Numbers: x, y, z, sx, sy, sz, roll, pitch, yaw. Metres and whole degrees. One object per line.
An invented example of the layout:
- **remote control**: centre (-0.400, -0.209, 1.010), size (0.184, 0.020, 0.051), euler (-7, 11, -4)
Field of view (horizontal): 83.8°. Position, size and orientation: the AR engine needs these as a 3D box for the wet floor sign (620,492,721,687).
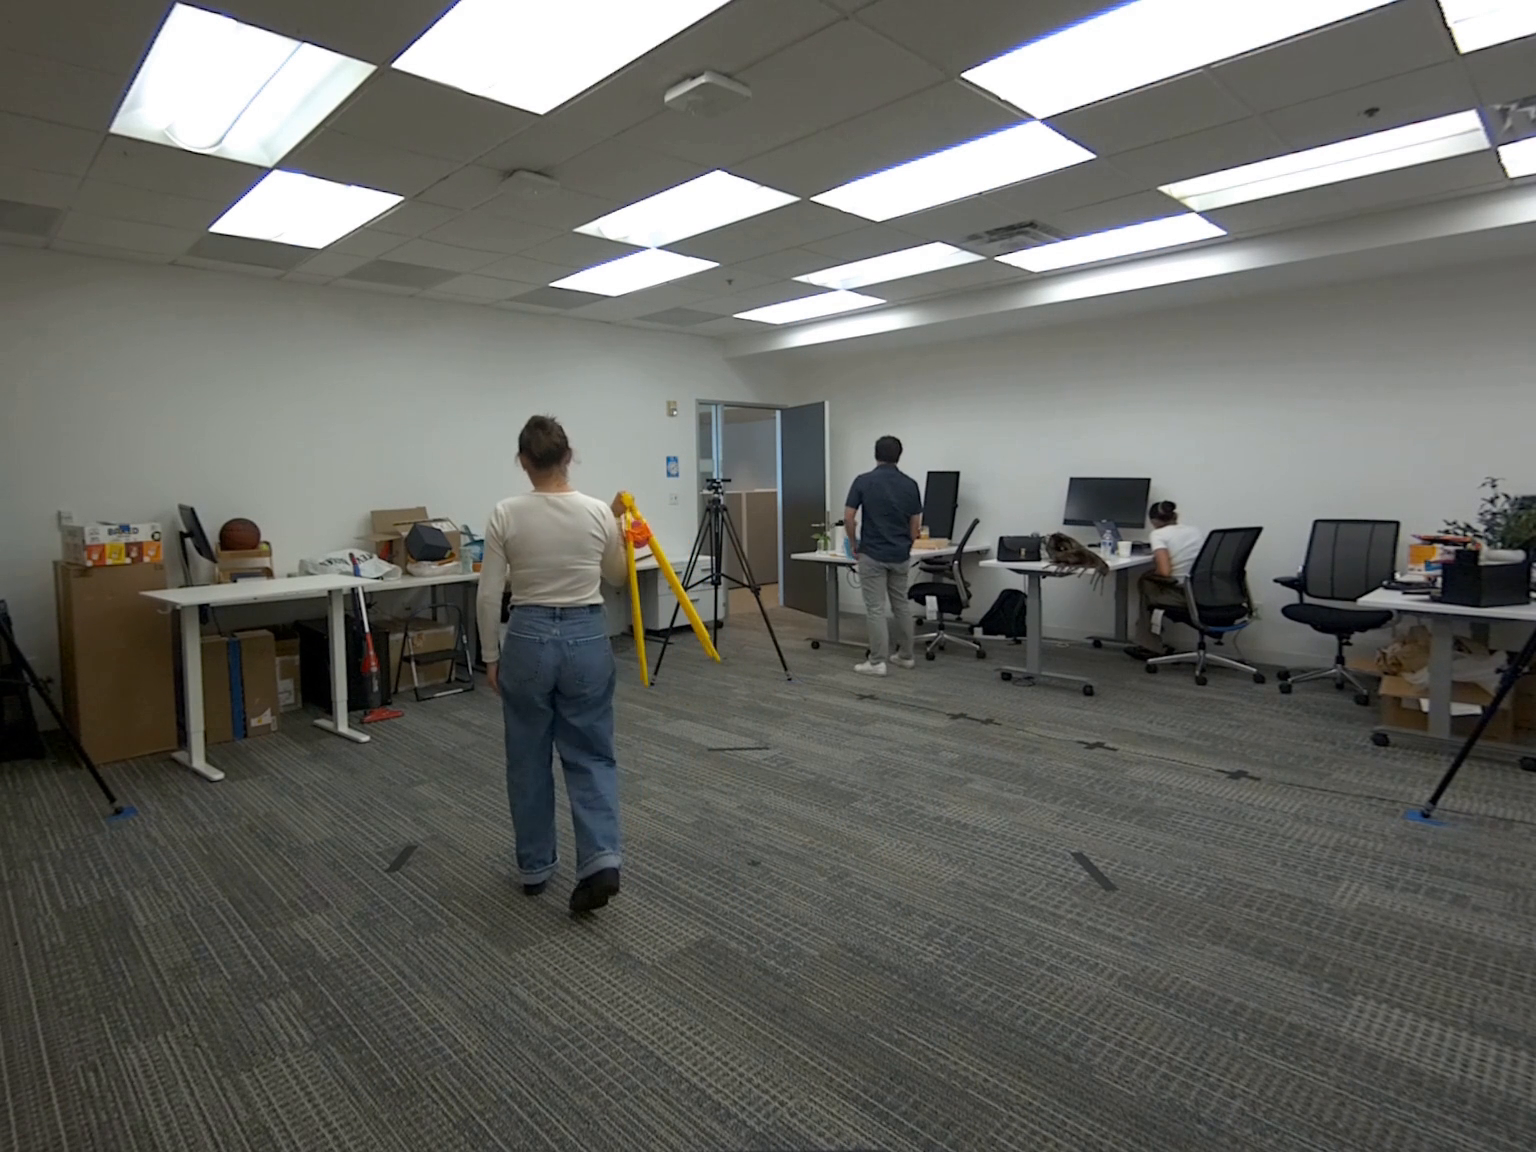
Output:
- **wet floor sign**: centre (-0.408, 0.027, 3.014), size (0.288, 0.647, 0.284), euler (-17, -1, -10)
